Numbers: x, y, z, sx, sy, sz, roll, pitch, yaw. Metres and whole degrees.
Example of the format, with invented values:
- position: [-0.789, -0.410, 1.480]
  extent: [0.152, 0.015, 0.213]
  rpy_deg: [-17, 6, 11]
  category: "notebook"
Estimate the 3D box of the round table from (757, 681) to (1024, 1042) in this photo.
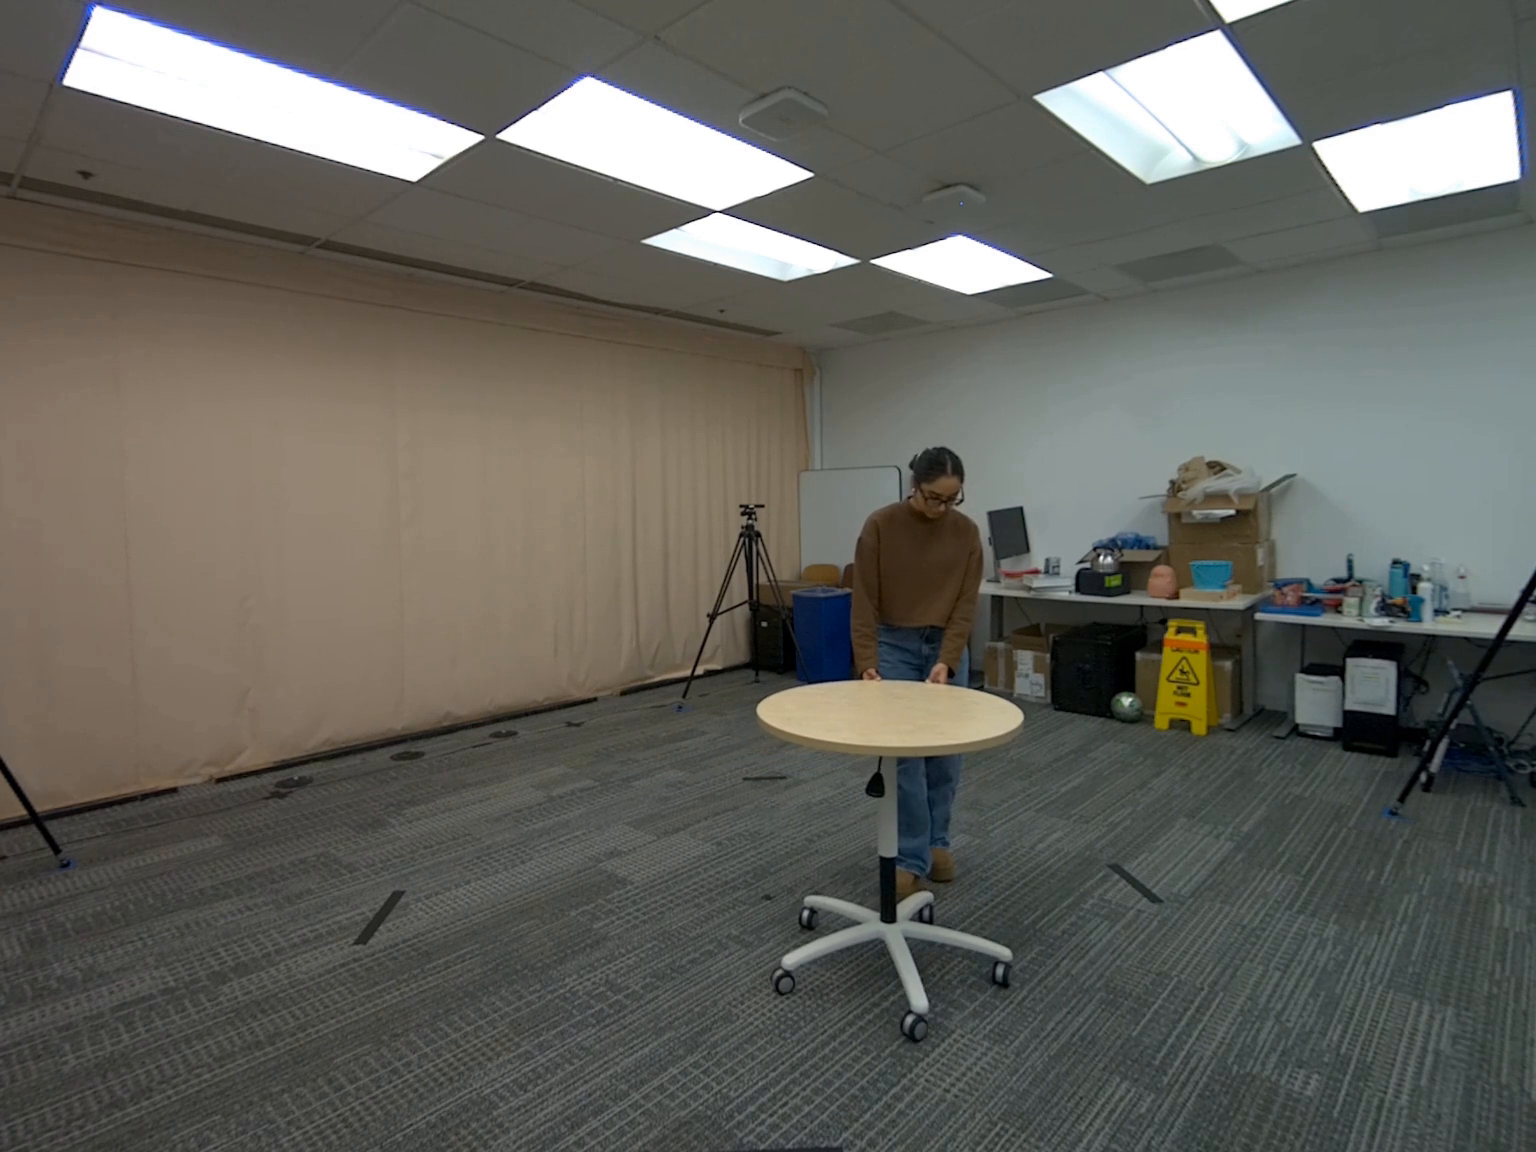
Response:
- position: [0.356, 0.786, 2.511]
  extent: [0.763, 0.792, 0.767]
  rpy_deg: [-1, 4, -2]
  category: "round table"
